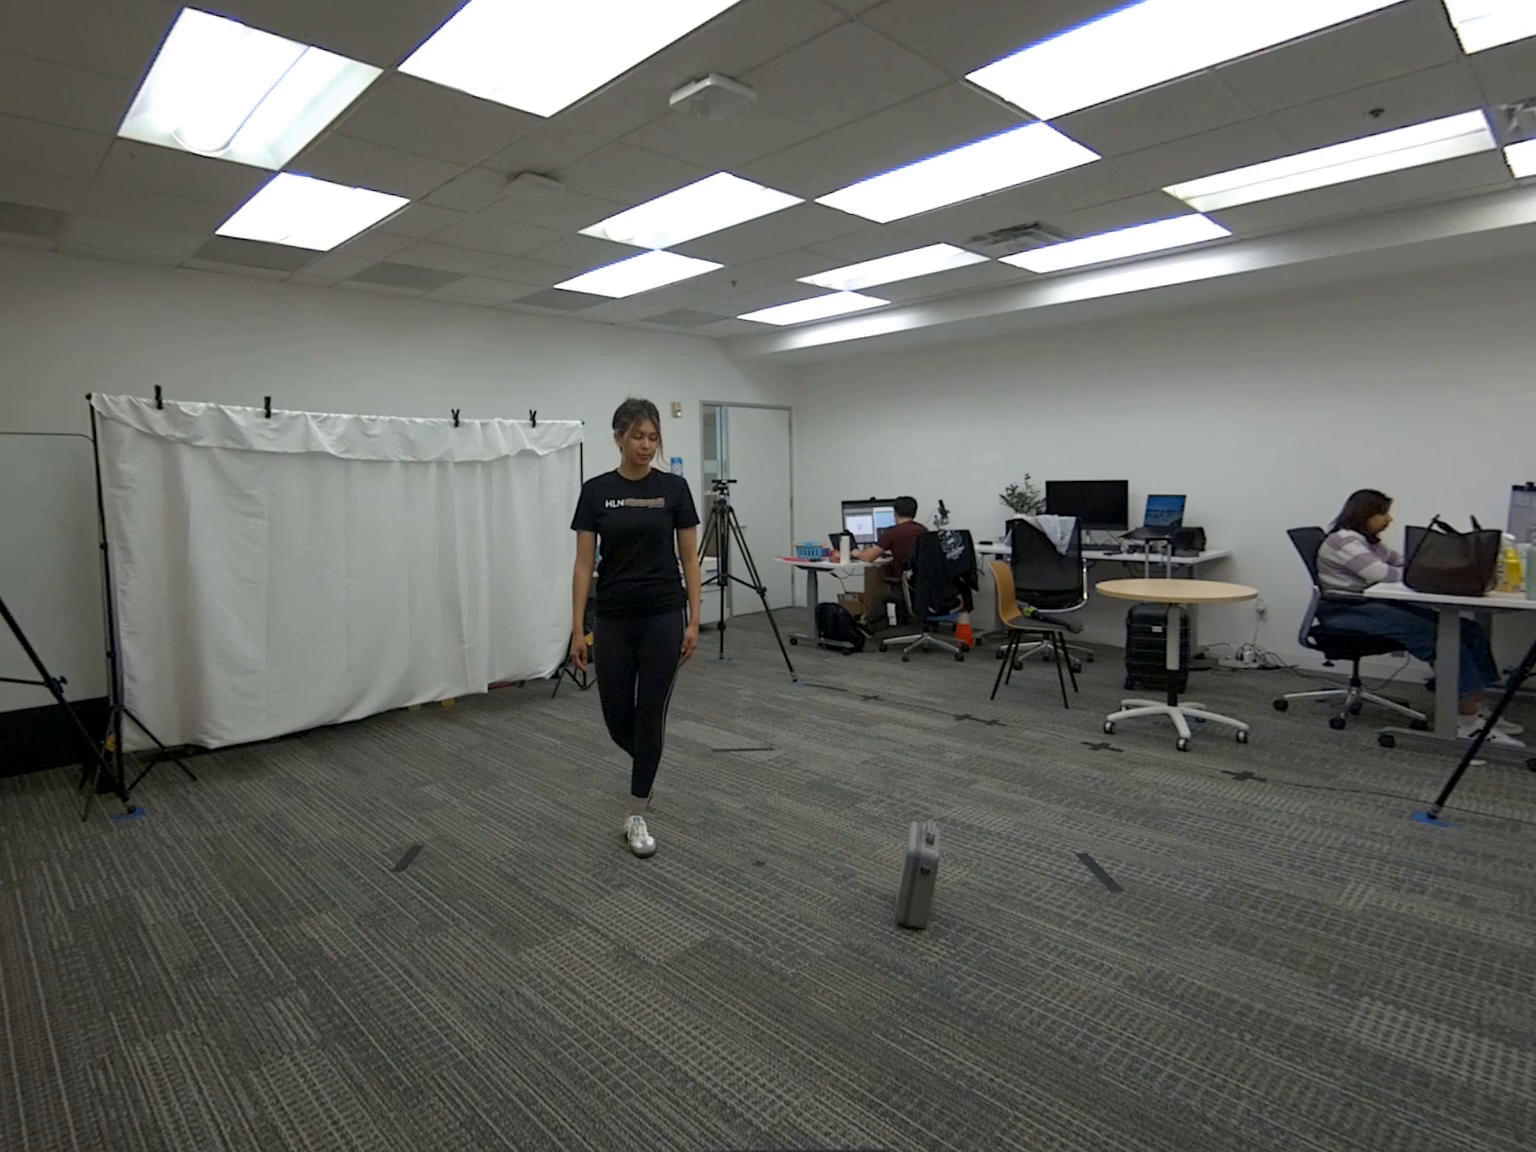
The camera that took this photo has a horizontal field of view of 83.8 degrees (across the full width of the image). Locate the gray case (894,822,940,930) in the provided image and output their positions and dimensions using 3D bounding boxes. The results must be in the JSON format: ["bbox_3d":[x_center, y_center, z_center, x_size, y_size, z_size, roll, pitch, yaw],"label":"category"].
[{"bbox_3d":[0.490,0.951,2.735,0.106,0.259,0.254,10,8,13],"label":"gray case"}]
